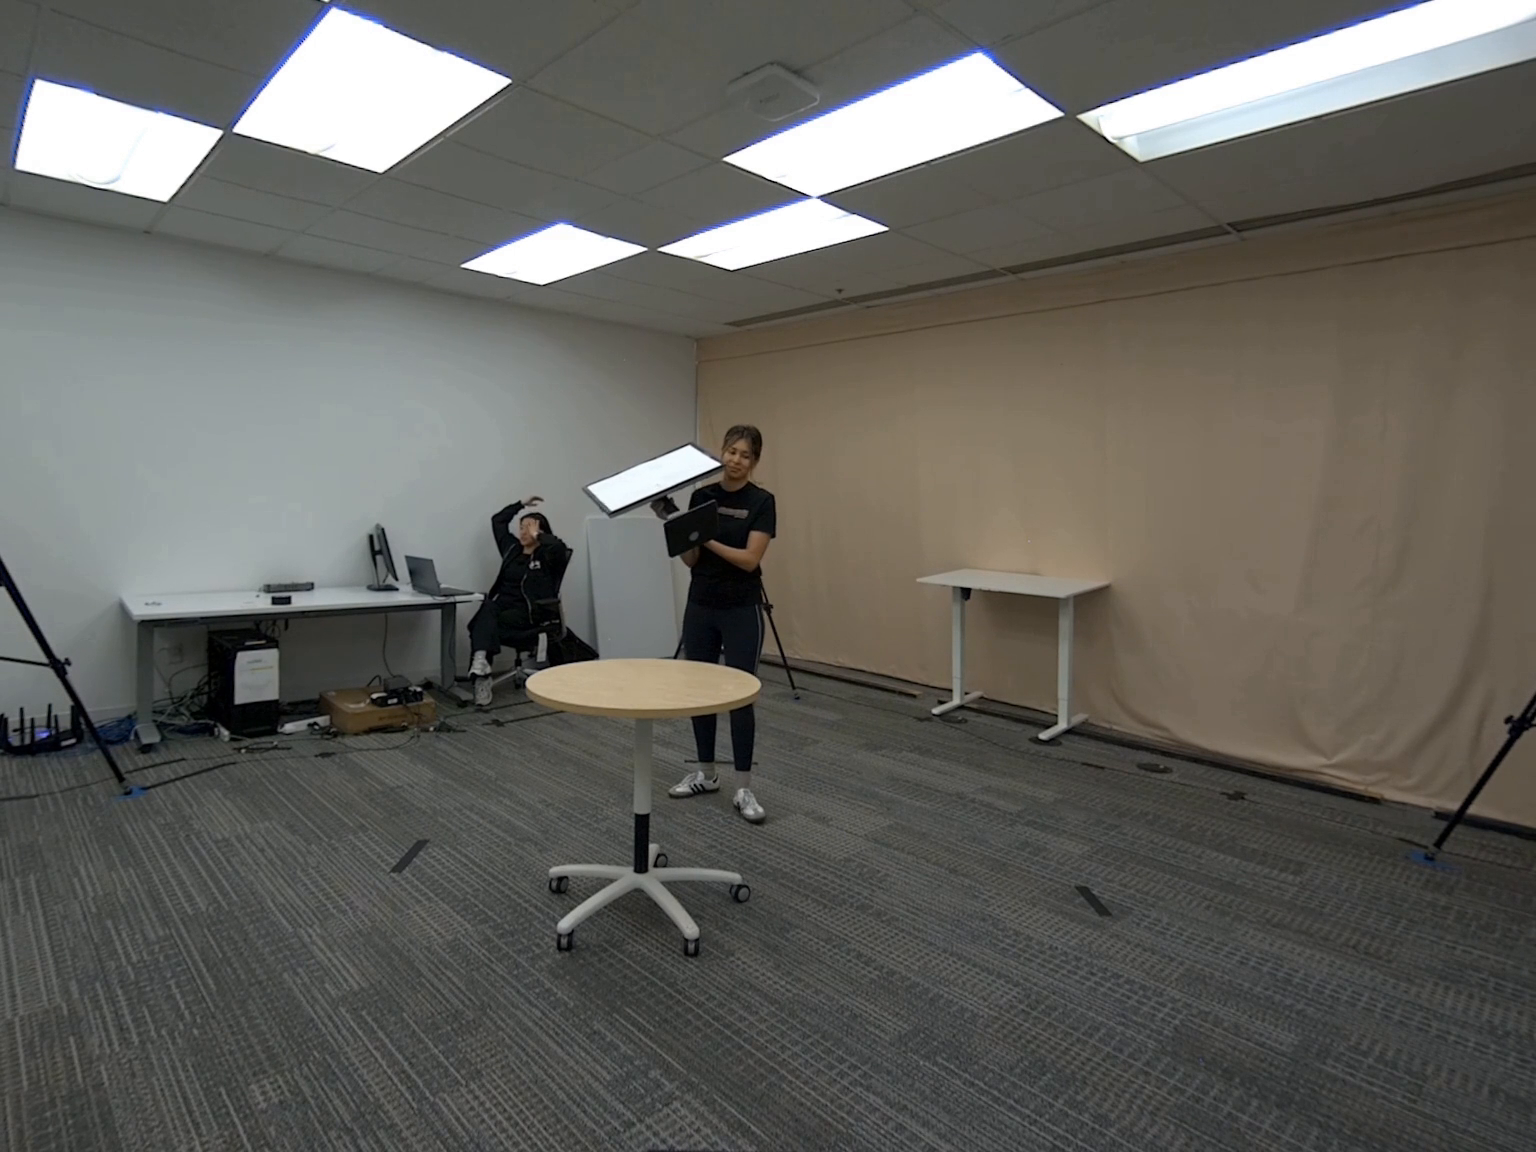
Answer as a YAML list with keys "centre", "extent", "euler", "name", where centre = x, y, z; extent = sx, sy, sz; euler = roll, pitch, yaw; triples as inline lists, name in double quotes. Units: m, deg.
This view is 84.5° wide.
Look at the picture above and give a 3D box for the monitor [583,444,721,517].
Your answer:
- centre: [-0.453, -0.349, 3.634]
  extent: [0.535, 0.182, 0.539]
  euler: [-25, 47, -19]
  name: "monitor"
